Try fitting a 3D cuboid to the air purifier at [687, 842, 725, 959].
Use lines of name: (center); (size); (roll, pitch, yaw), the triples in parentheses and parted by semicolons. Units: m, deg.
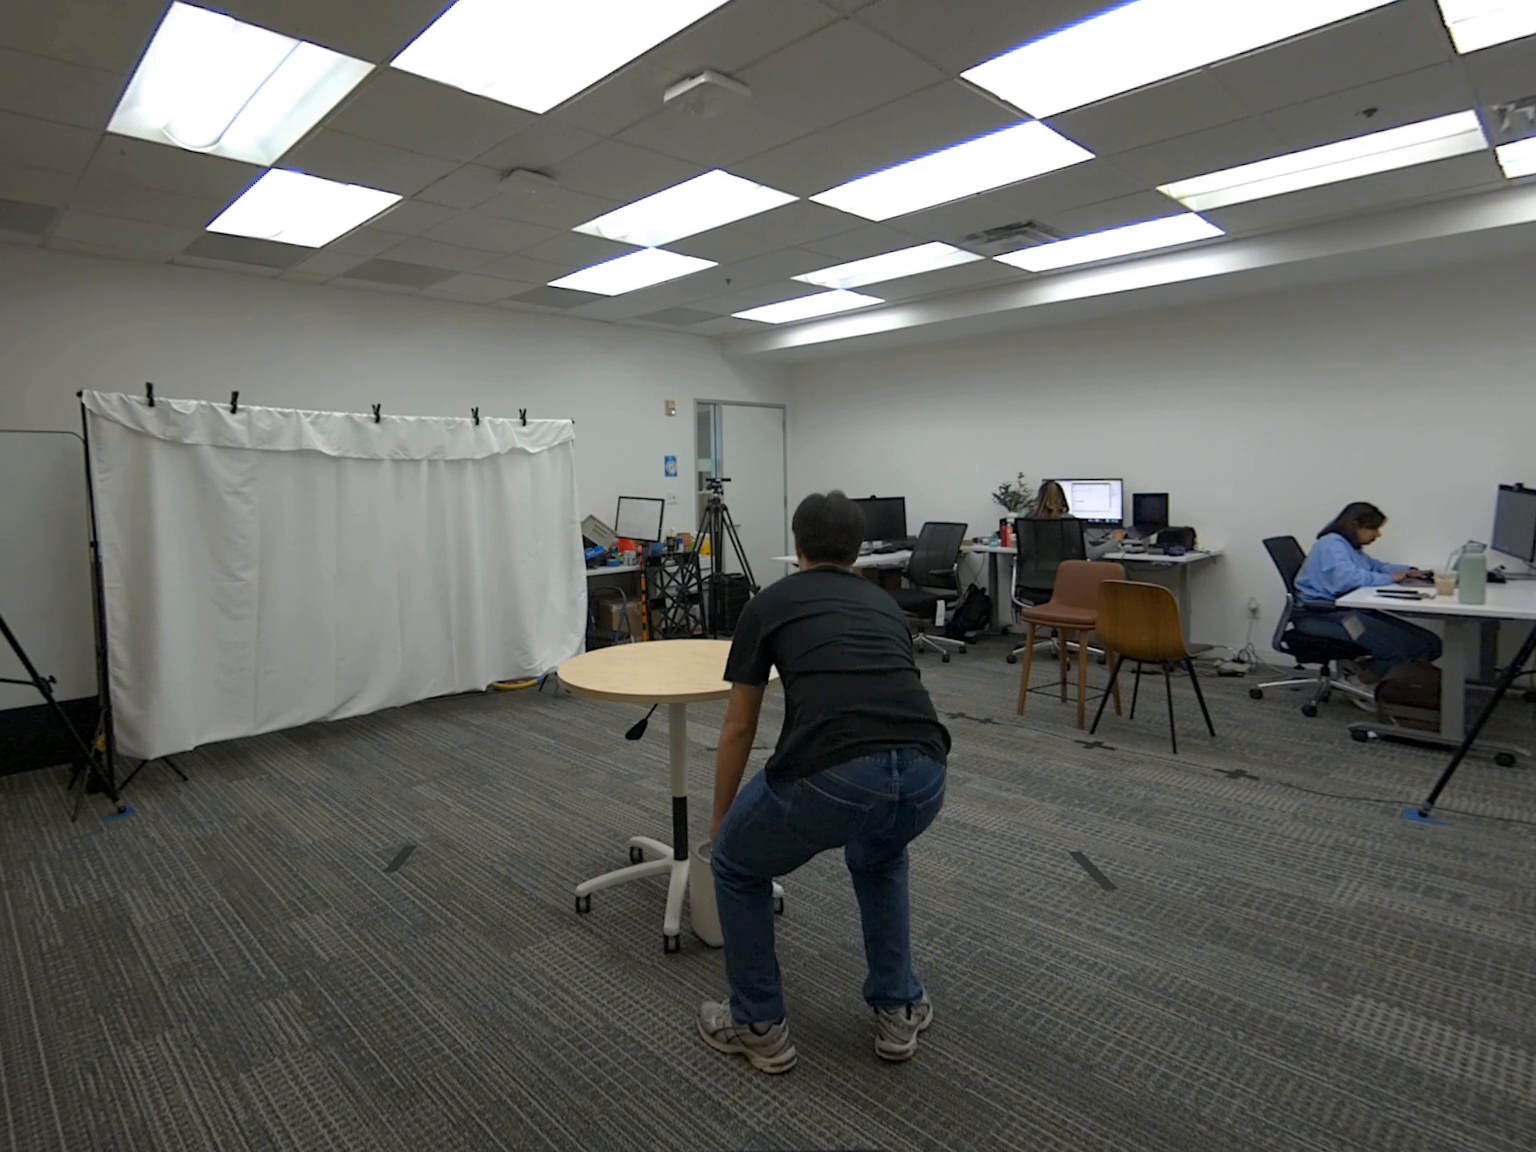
air purifier: (-0.127, 0.972, 2.615); (0.167, 0.265, 0.176); (-3, 4, -31)
